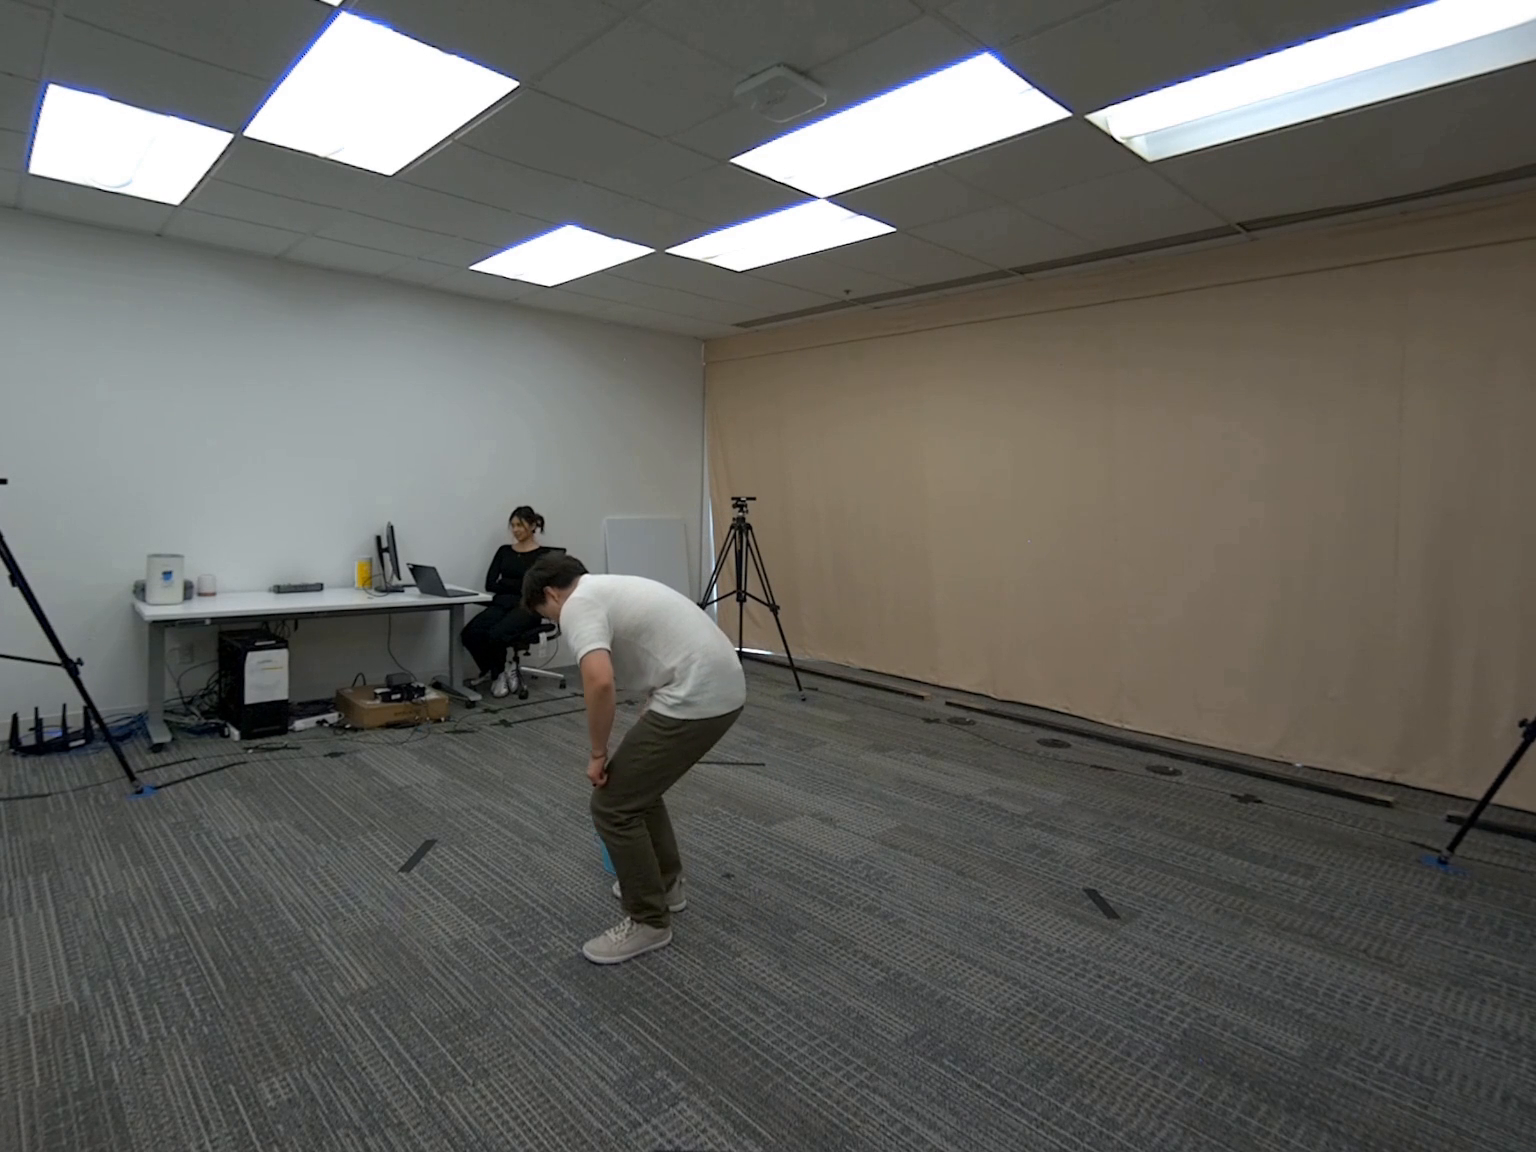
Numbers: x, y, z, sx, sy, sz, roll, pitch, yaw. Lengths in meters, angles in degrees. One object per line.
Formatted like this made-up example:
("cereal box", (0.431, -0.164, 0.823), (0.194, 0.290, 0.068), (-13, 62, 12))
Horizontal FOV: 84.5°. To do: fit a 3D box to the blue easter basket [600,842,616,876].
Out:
("blue easter basket", (-0.533, 1.019, 3.185), (0.243, 0.155, 0.244), (2, 5, -2))
